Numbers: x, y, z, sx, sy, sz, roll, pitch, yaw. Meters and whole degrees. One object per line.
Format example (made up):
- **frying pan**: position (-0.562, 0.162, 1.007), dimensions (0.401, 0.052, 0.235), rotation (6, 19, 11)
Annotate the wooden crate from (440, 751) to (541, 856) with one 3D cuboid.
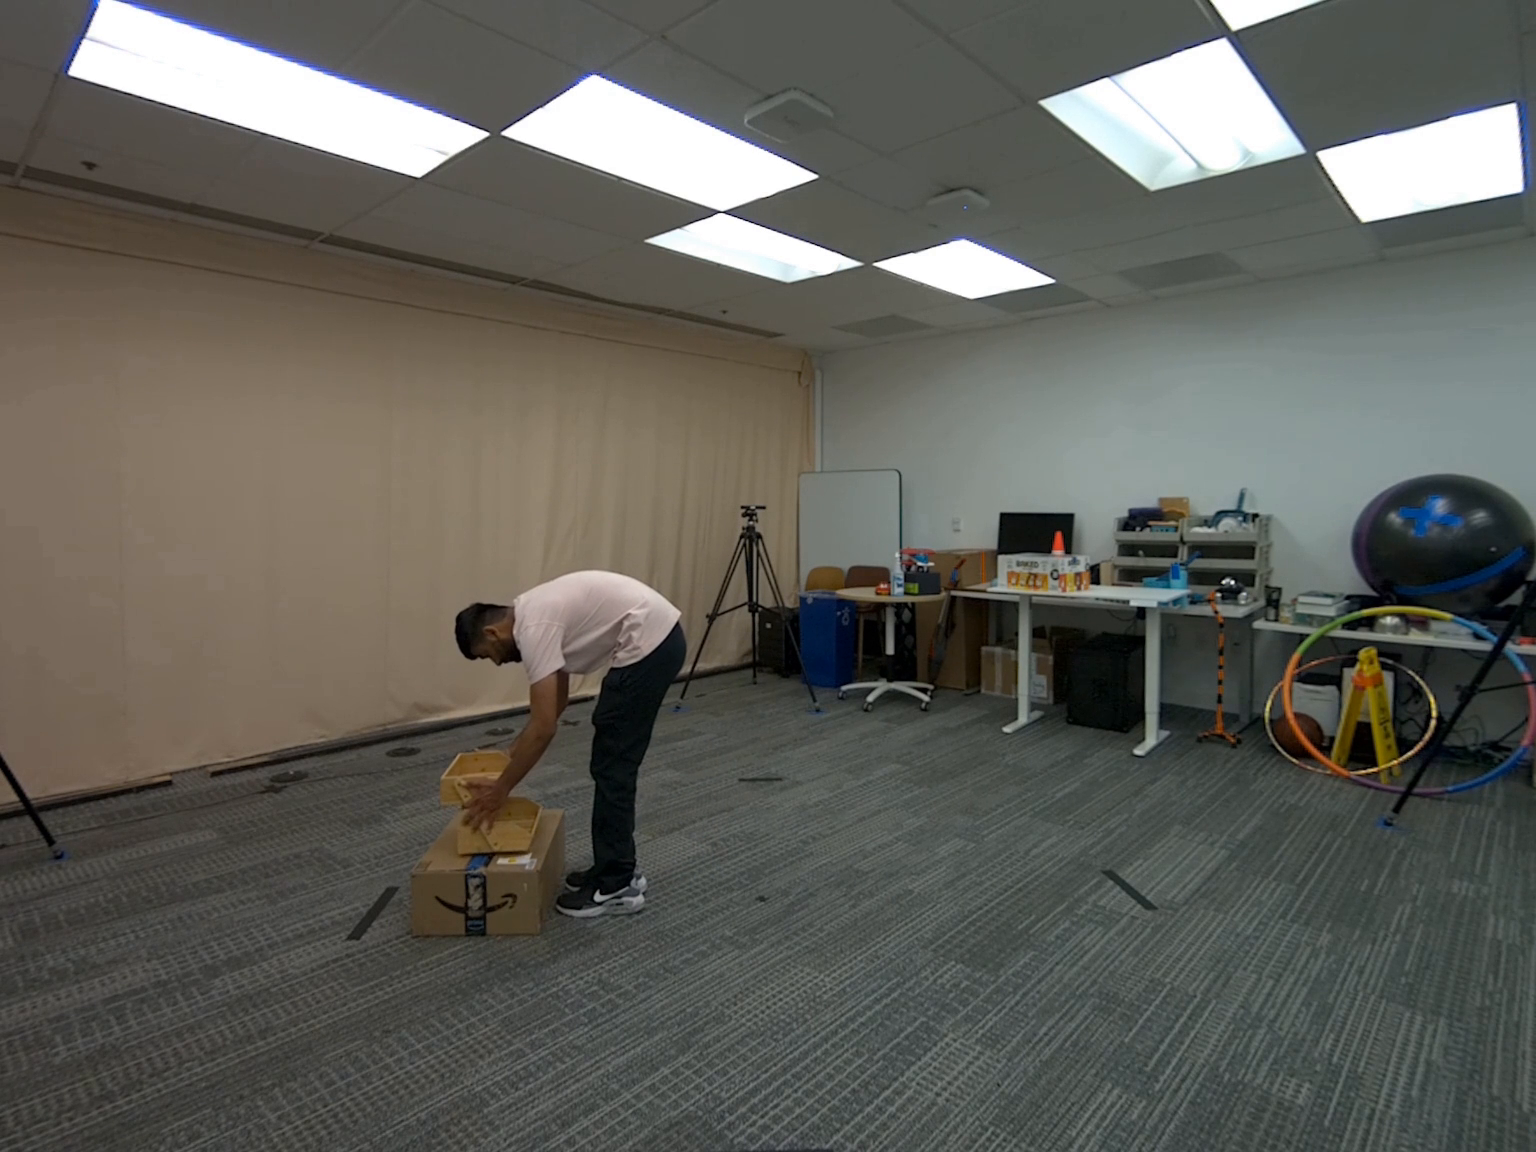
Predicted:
- **wooden crate**: position (-0.967, 0.788, 2.984), dimensions (0.300, 0.273, 0.327), rotation (-2, 3, -8)
